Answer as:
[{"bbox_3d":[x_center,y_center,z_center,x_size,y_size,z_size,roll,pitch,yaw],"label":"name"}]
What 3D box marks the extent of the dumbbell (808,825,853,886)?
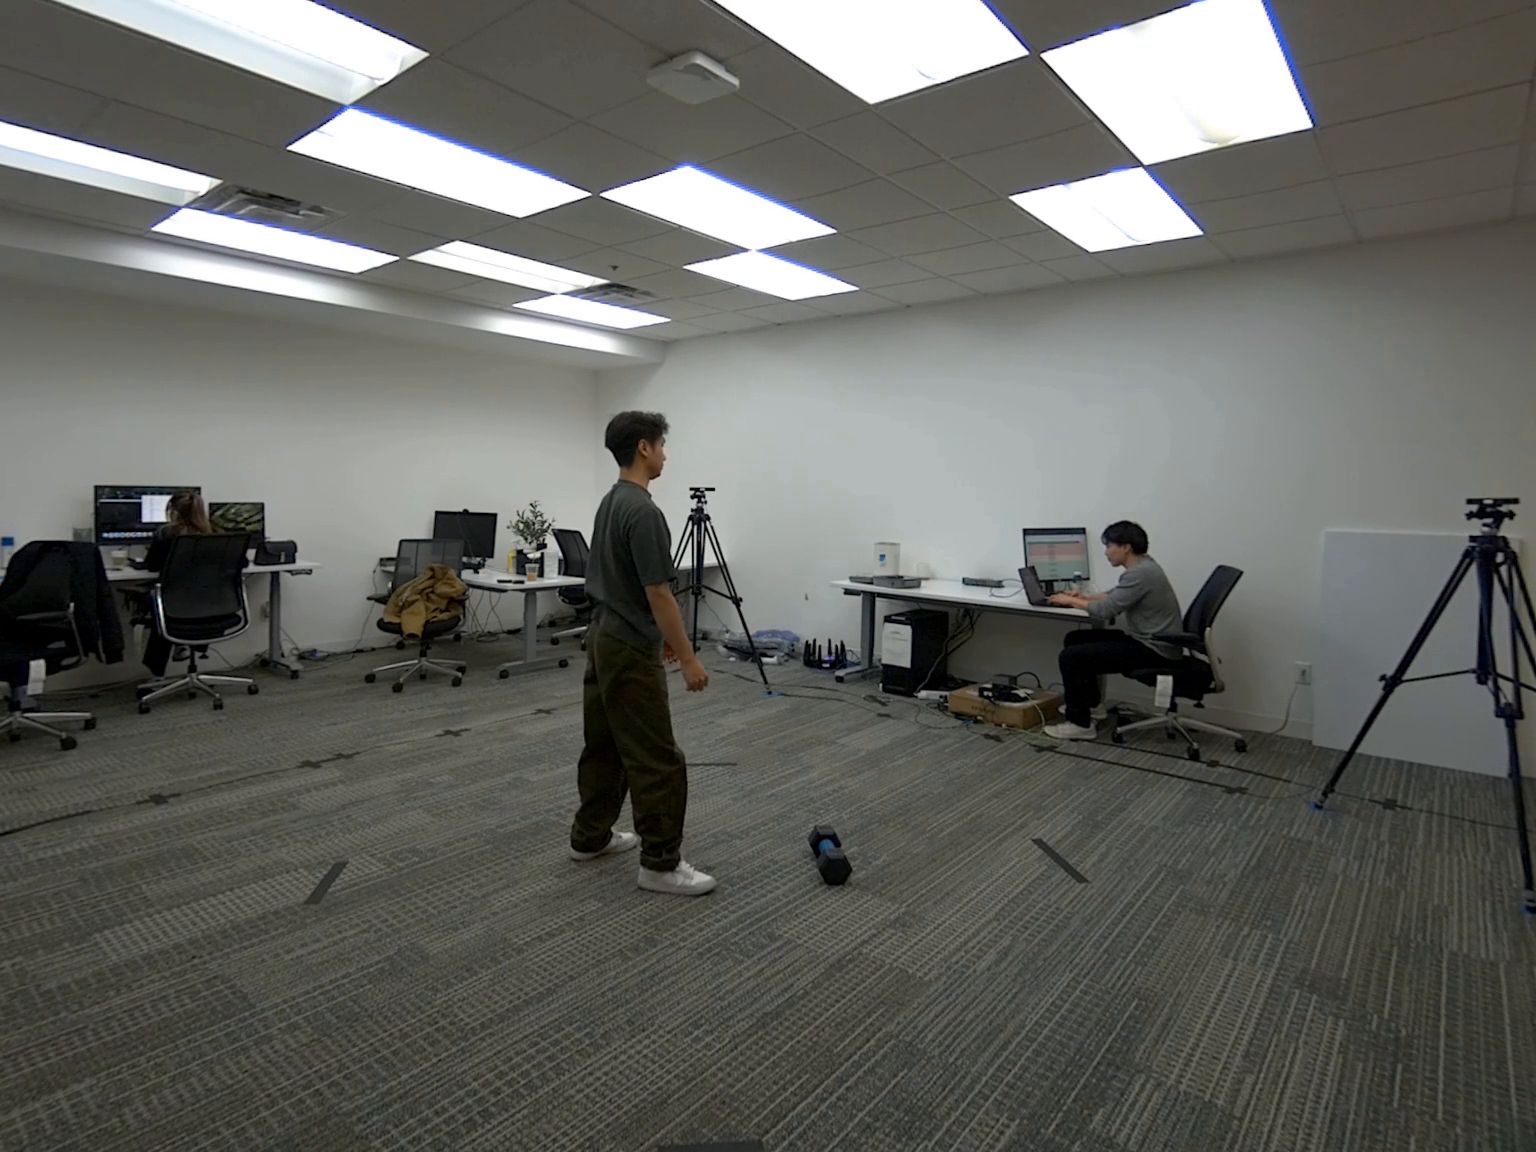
[{"bbox_3d":[0.220,1.024,3.135,0.108,0.123,0.296,31,2,-8],"label":"dumbbell"}]
